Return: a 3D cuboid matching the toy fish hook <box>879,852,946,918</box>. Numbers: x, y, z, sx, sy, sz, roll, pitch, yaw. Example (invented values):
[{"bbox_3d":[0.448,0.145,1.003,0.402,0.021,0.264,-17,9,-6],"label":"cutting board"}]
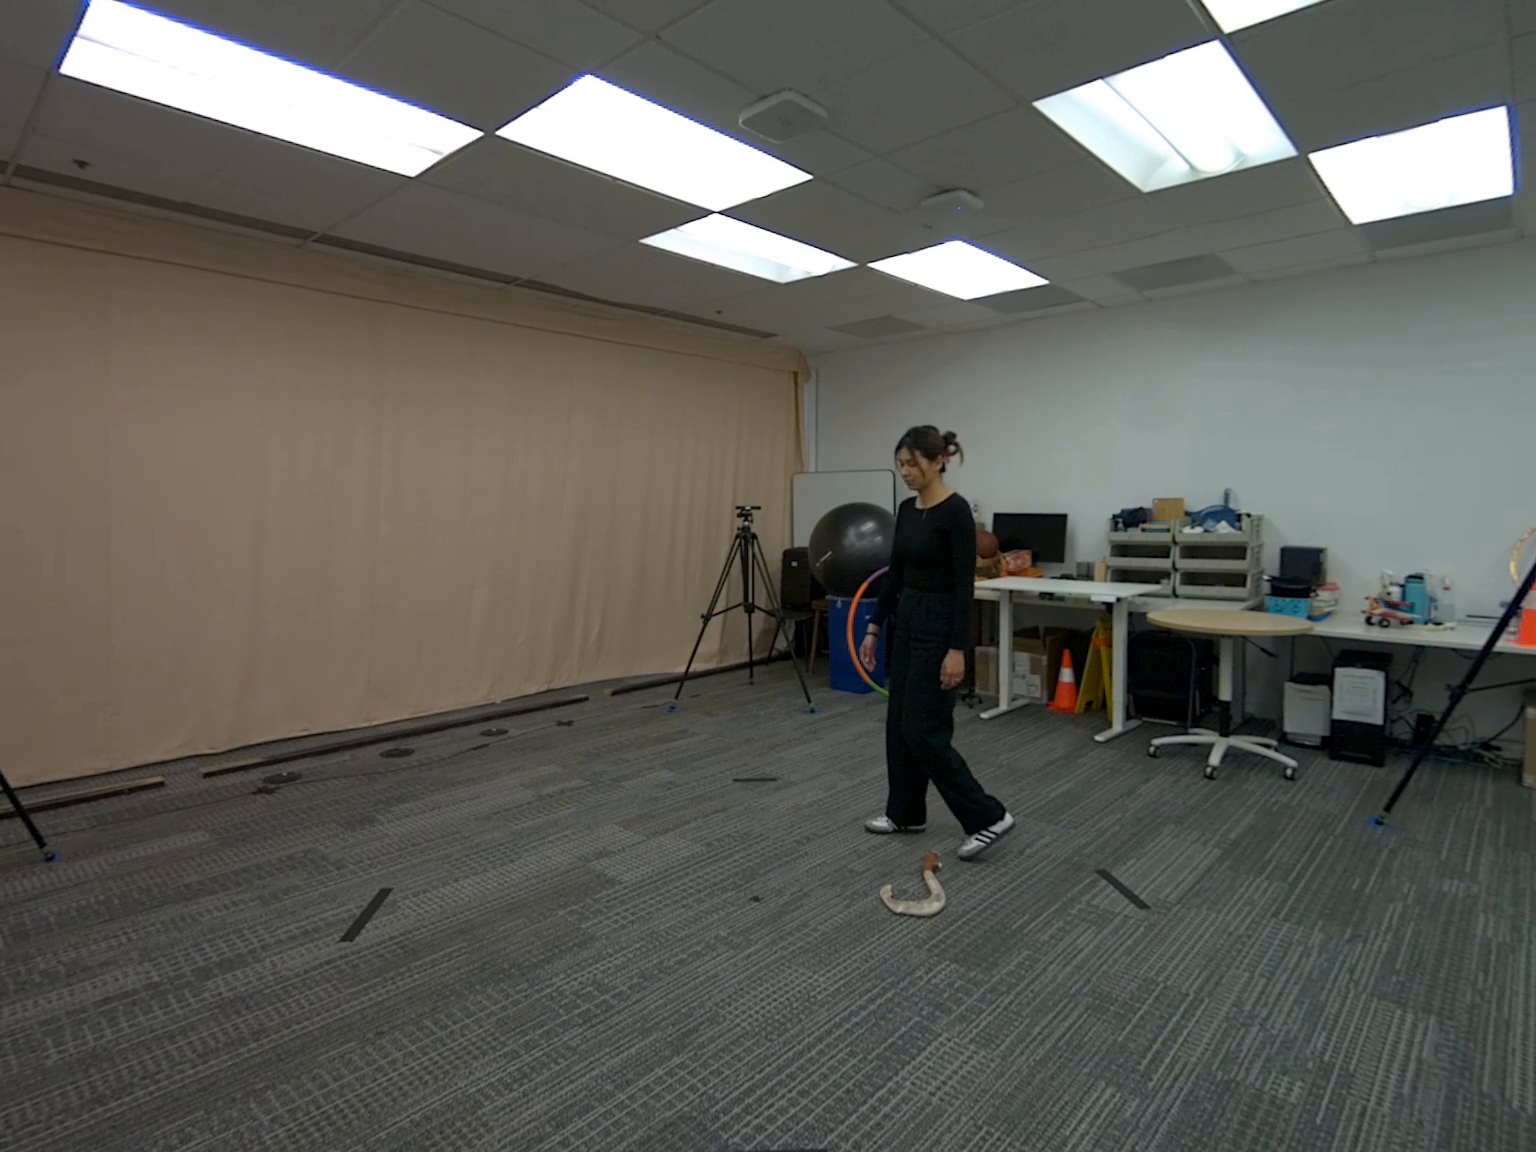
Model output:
[{"bbox_3d":[0.540,1.114,3.082,0.228,0.048,0.499,2,4,13],"label":"toy fish hook"}]
